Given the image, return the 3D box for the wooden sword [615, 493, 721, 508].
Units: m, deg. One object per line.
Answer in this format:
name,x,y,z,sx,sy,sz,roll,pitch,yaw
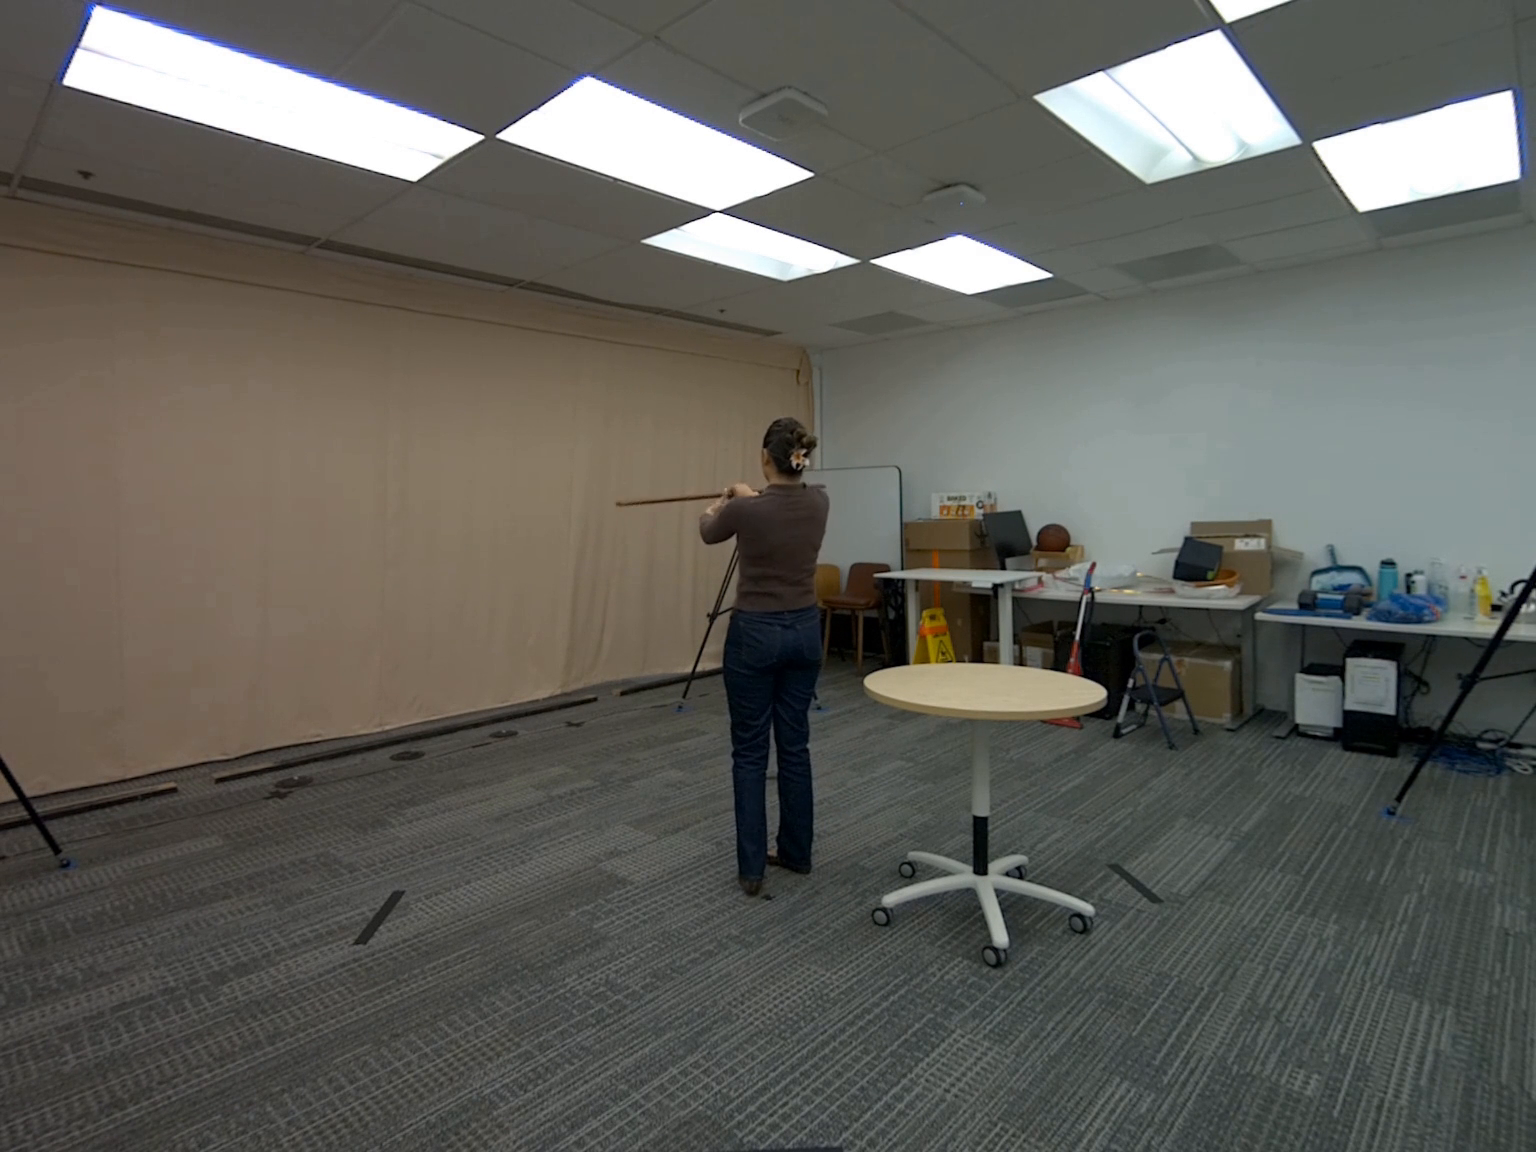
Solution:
wooden sword,-0.174,-0.342,3.587,0.999,0.024,0.053,-8,8,-29
